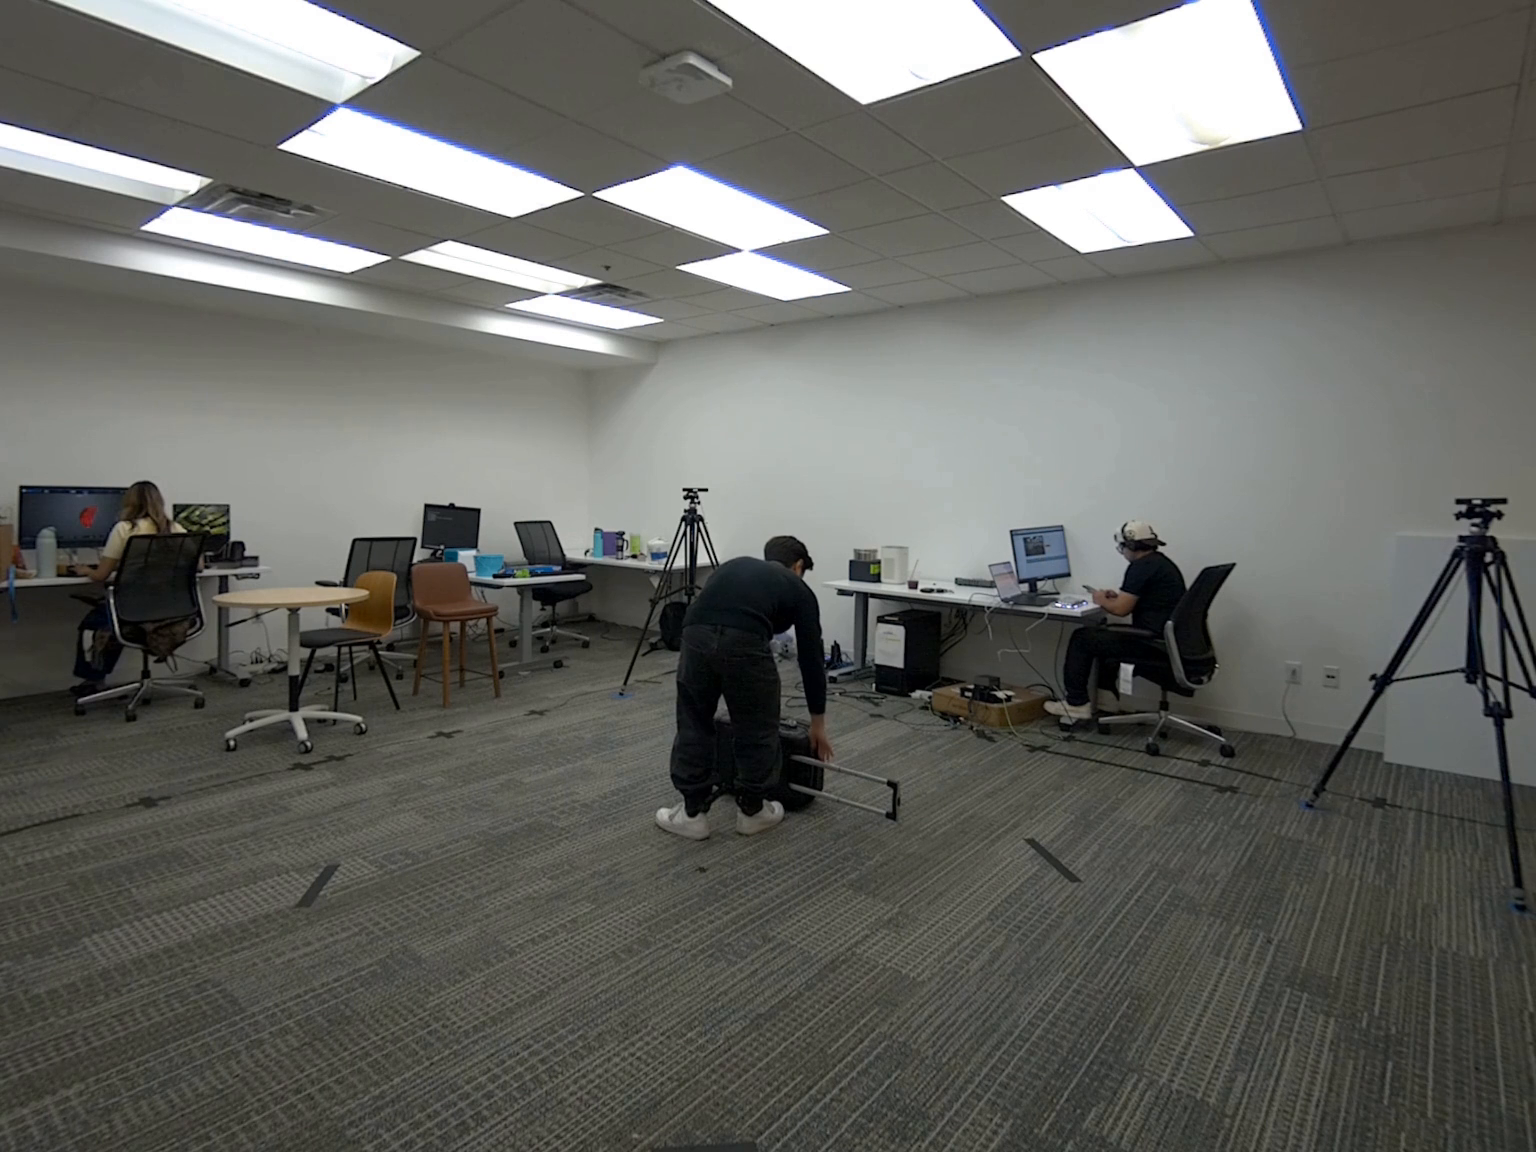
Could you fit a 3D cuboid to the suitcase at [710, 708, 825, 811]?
[{"bbox_3d":[0.149,0.826,3.750,1.010,0.382,0.250,5,6,34],"label":"suitcase"}]
